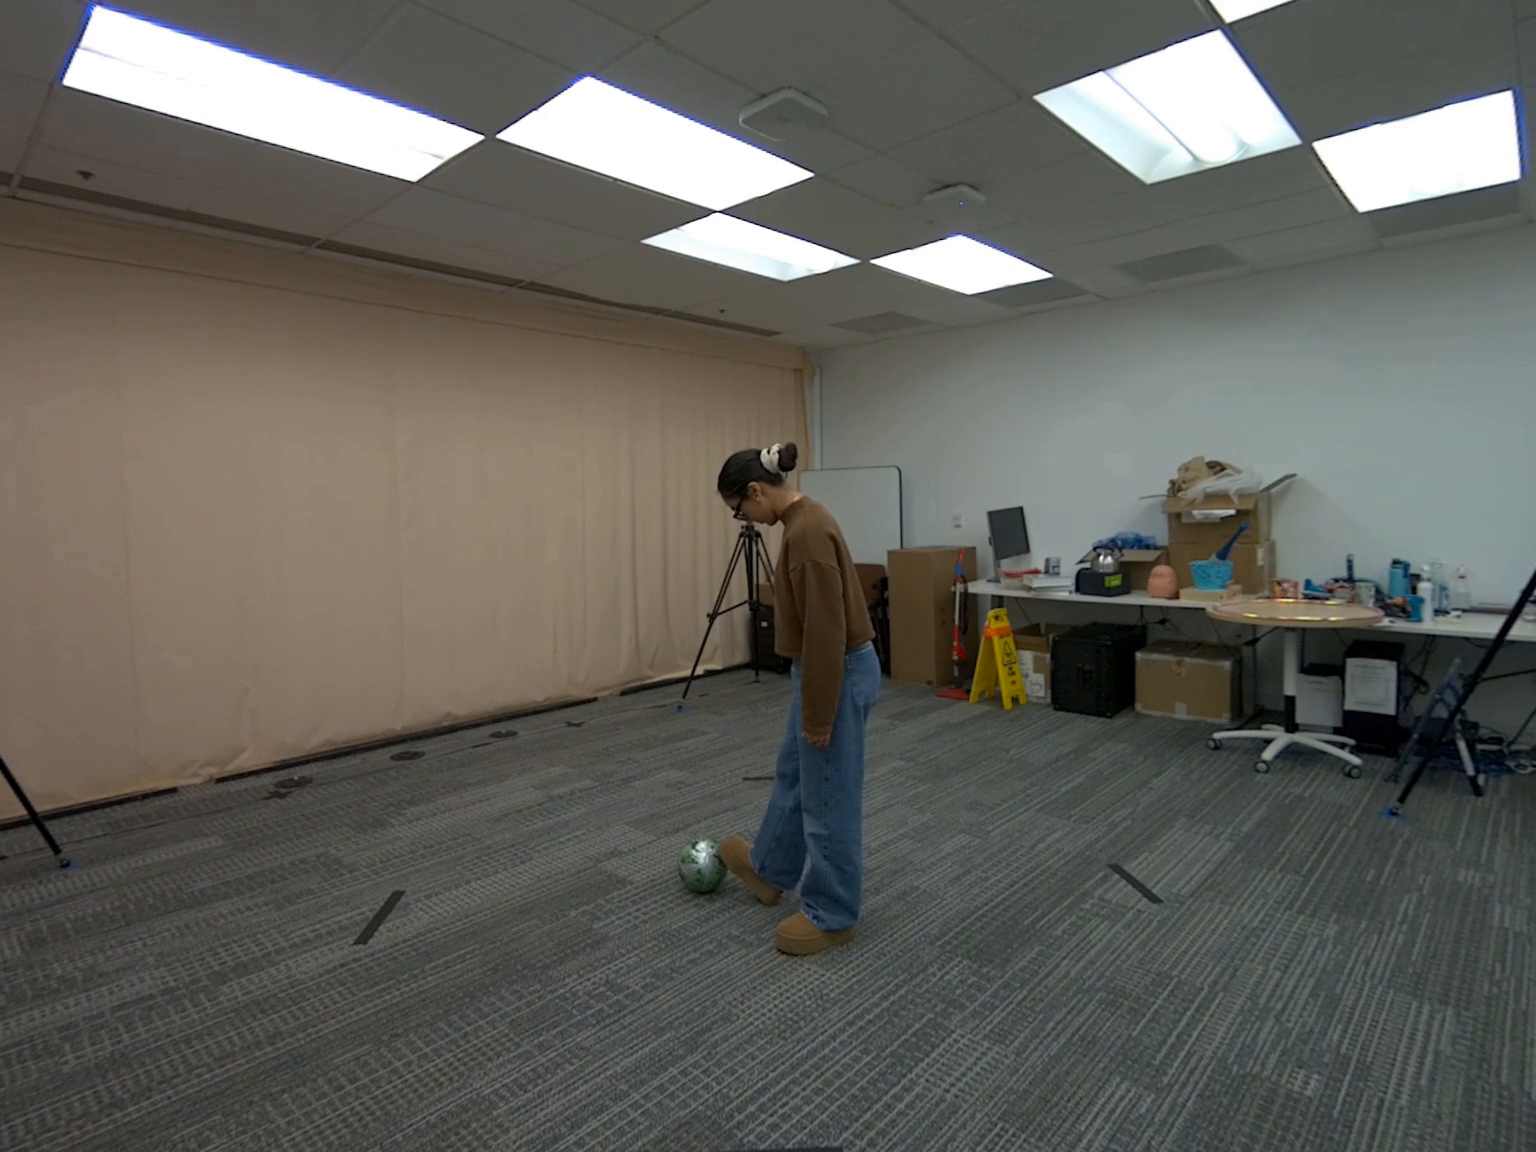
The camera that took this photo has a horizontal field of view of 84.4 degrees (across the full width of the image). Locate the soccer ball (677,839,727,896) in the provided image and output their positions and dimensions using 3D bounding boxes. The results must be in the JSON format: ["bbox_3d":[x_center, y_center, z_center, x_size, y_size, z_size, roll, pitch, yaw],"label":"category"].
[{"bbox_3d":[-0.236,1.048,3.054,0.187,0.187,0.188,-1,4,-2],"label":"soccer ball"}]
